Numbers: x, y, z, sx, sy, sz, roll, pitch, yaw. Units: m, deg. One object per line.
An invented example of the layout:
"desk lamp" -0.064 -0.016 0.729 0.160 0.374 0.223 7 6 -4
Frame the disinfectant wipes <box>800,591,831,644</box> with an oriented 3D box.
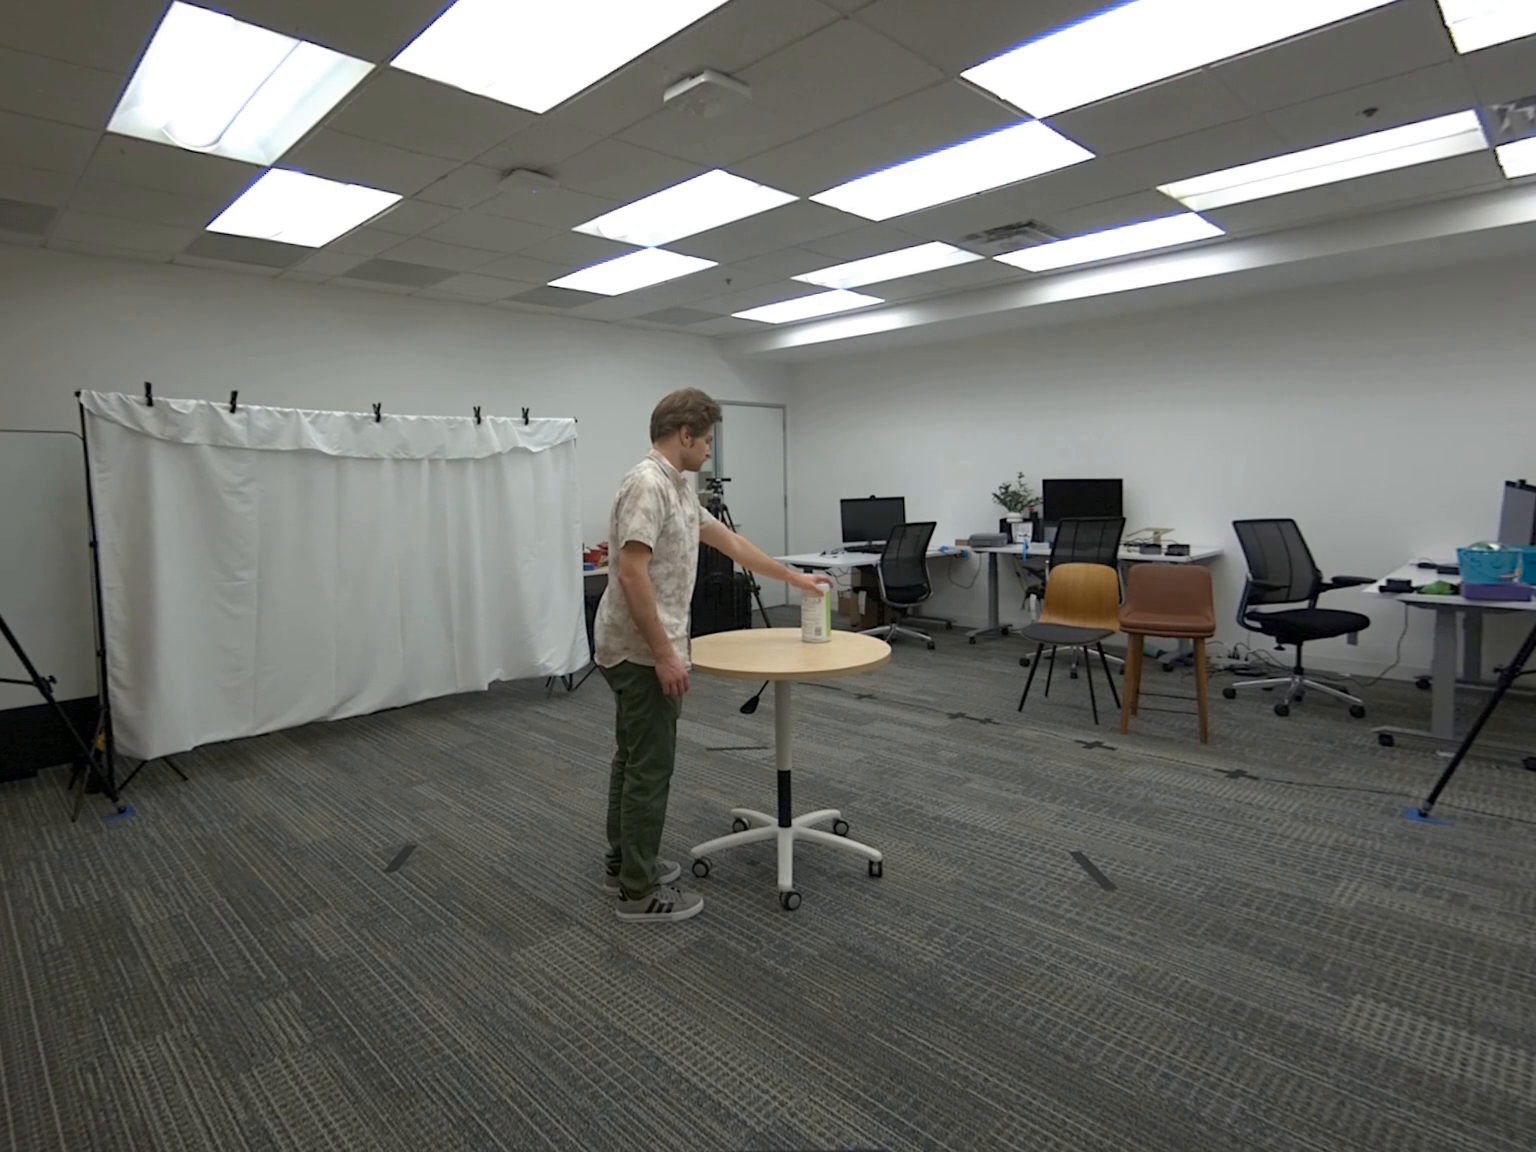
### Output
"disinfectant wipes" 0.186 0.134 3.157 0.118 0.217 0.118 -1 2 -2
